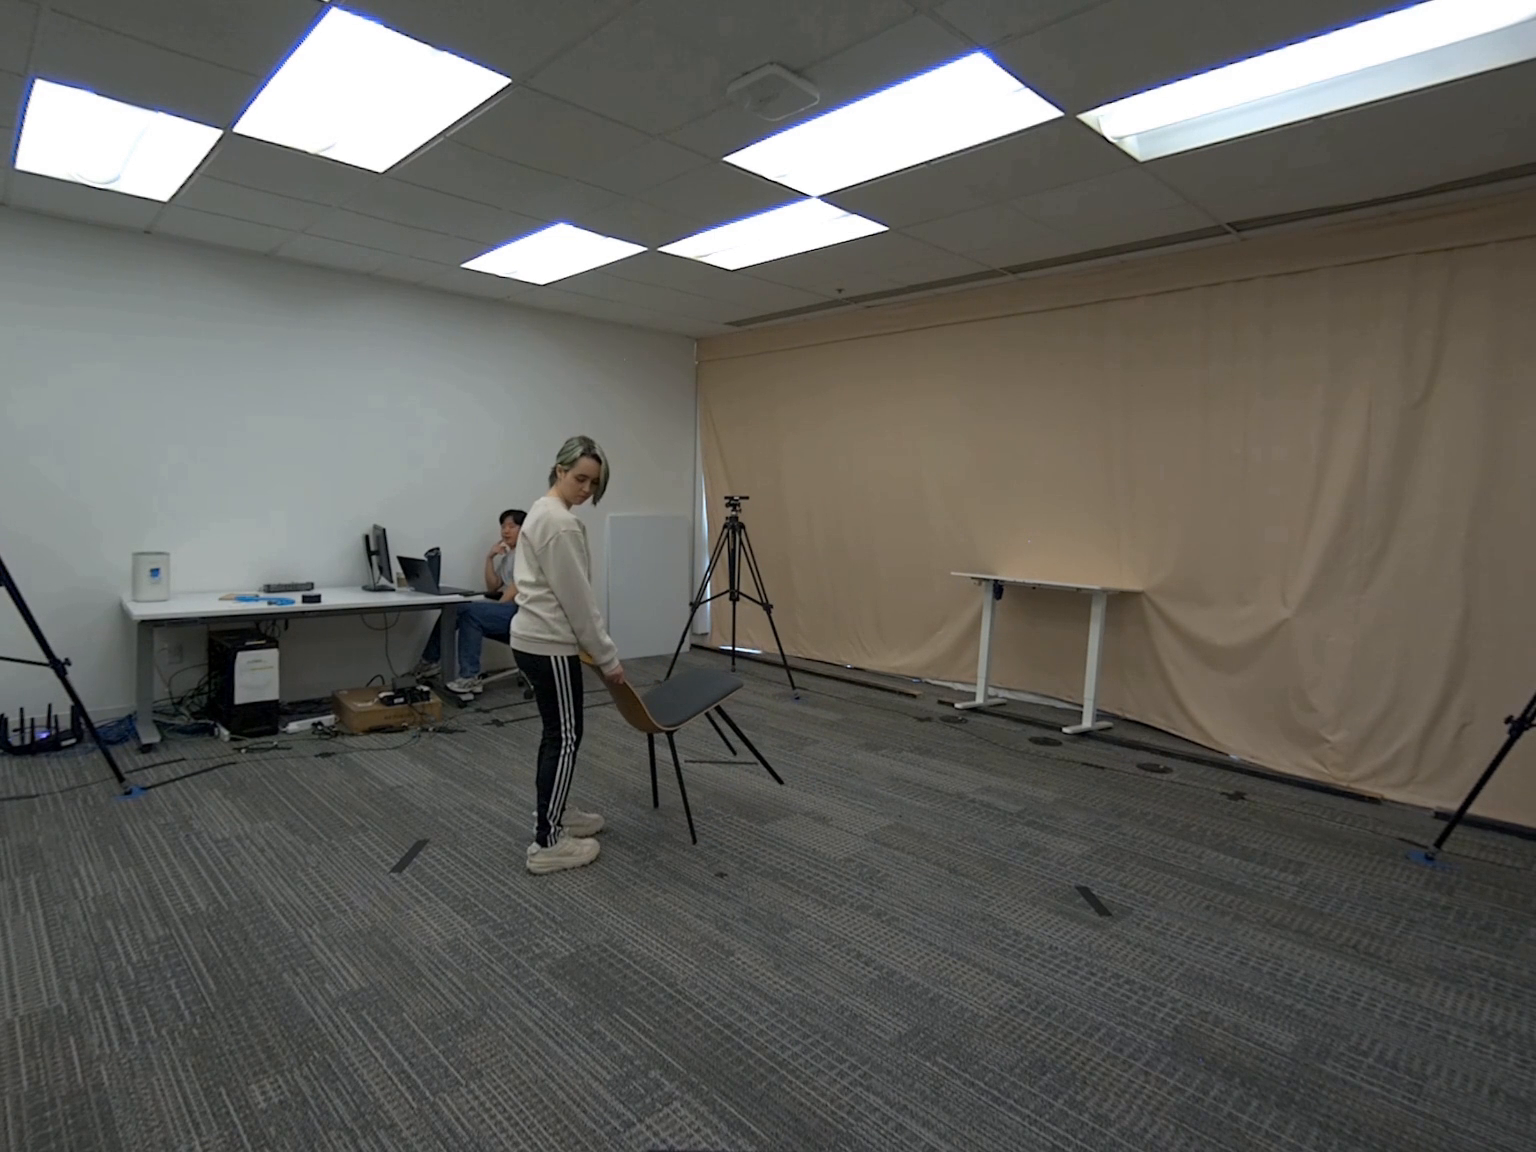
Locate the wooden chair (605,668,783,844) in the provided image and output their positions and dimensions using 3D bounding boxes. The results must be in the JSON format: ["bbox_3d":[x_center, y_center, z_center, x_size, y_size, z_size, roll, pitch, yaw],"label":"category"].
[{"bbox_3d":[-0.377,0.568,3.542,0.520,0.864,0.488,-33,17,-22],"label":"wooden chair"}]
